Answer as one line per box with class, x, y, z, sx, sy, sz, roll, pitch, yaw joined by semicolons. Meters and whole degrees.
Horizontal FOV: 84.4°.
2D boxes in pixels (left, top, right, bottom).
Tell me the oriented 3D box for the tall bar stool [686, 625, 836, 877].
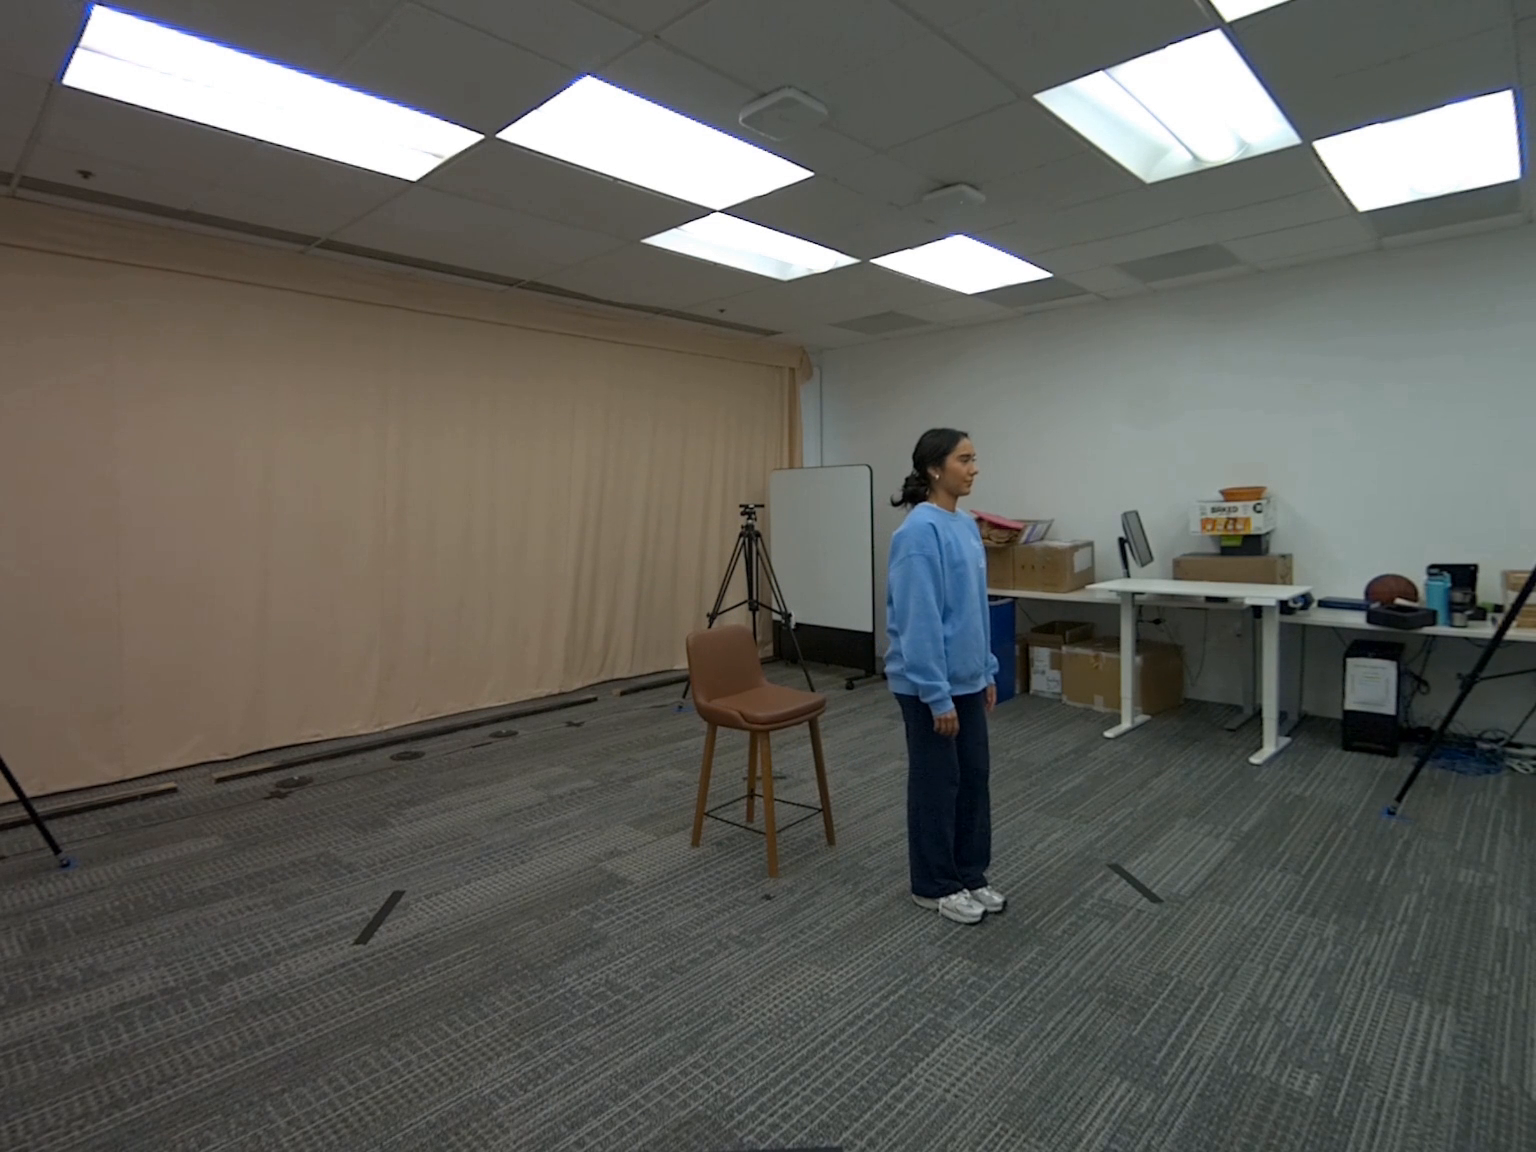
tall bar stool;-0.036;0.665;3.419;0.482;0.889;0.443;-1;2;41
